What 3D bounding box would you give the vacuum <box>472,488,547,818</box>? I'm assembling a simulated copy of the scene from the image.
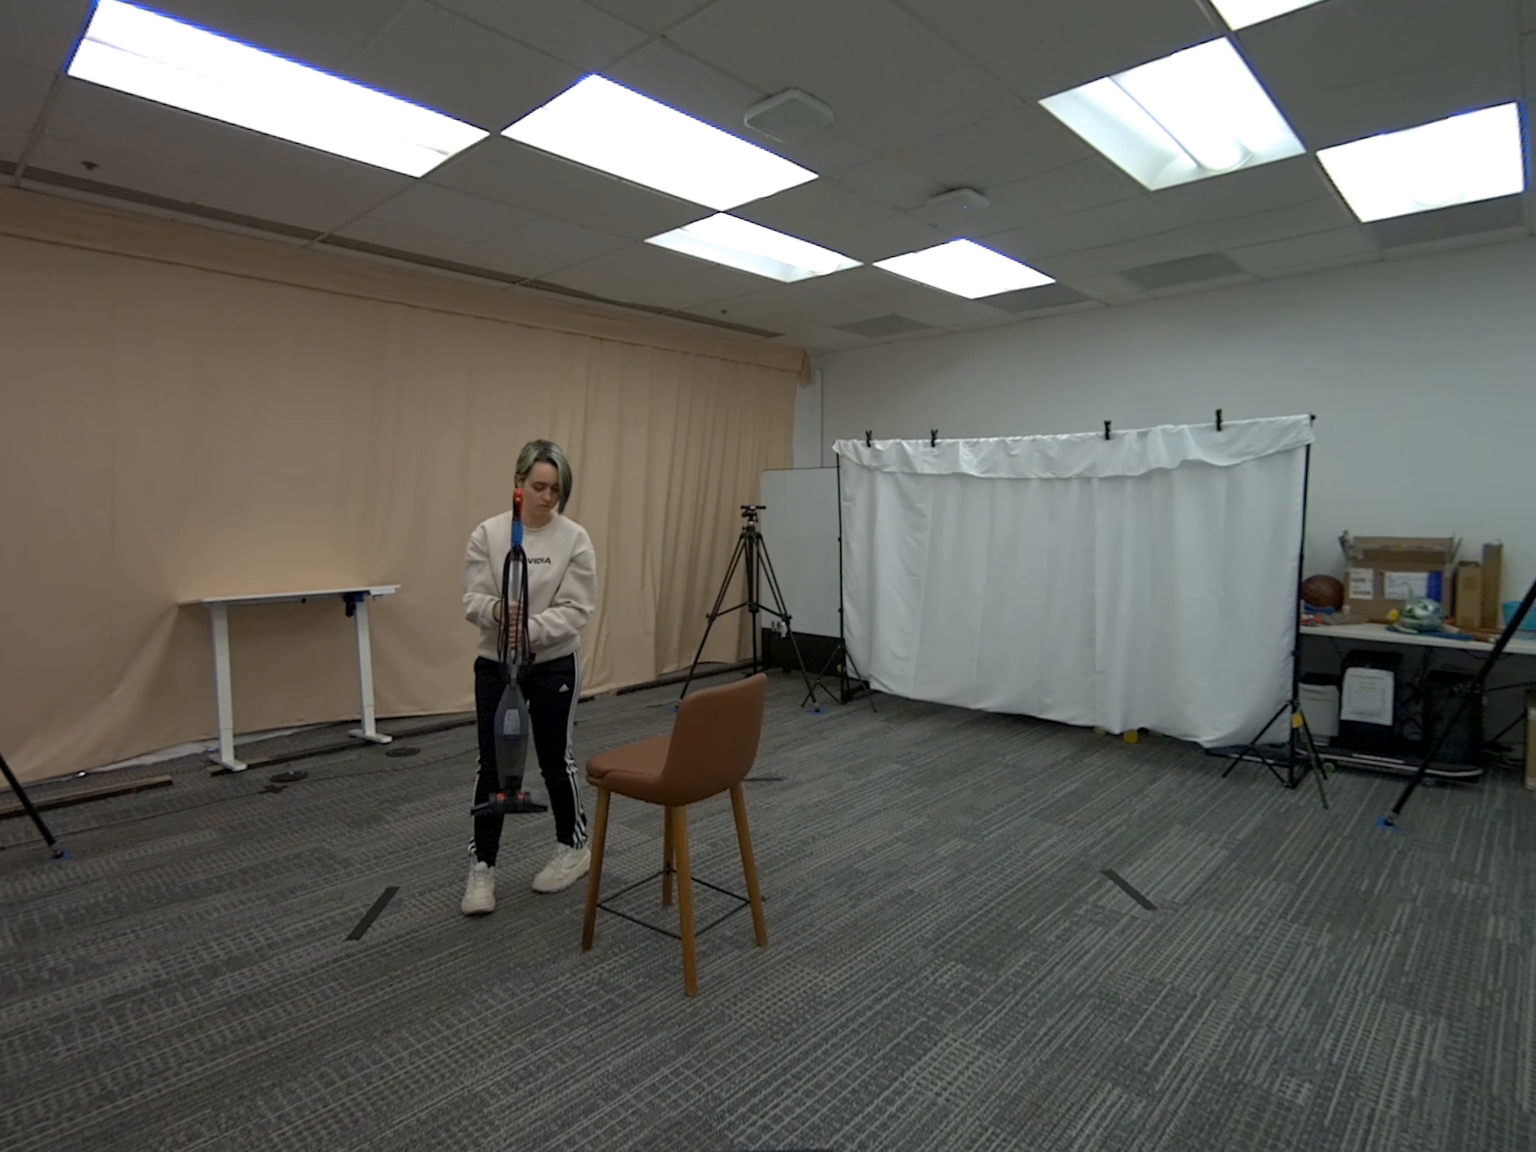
[{"bbox_3d":[-0.822,0.243,2.708,0.252,1.042,0.145,3,12,-2],"label":"vacuum"}]
